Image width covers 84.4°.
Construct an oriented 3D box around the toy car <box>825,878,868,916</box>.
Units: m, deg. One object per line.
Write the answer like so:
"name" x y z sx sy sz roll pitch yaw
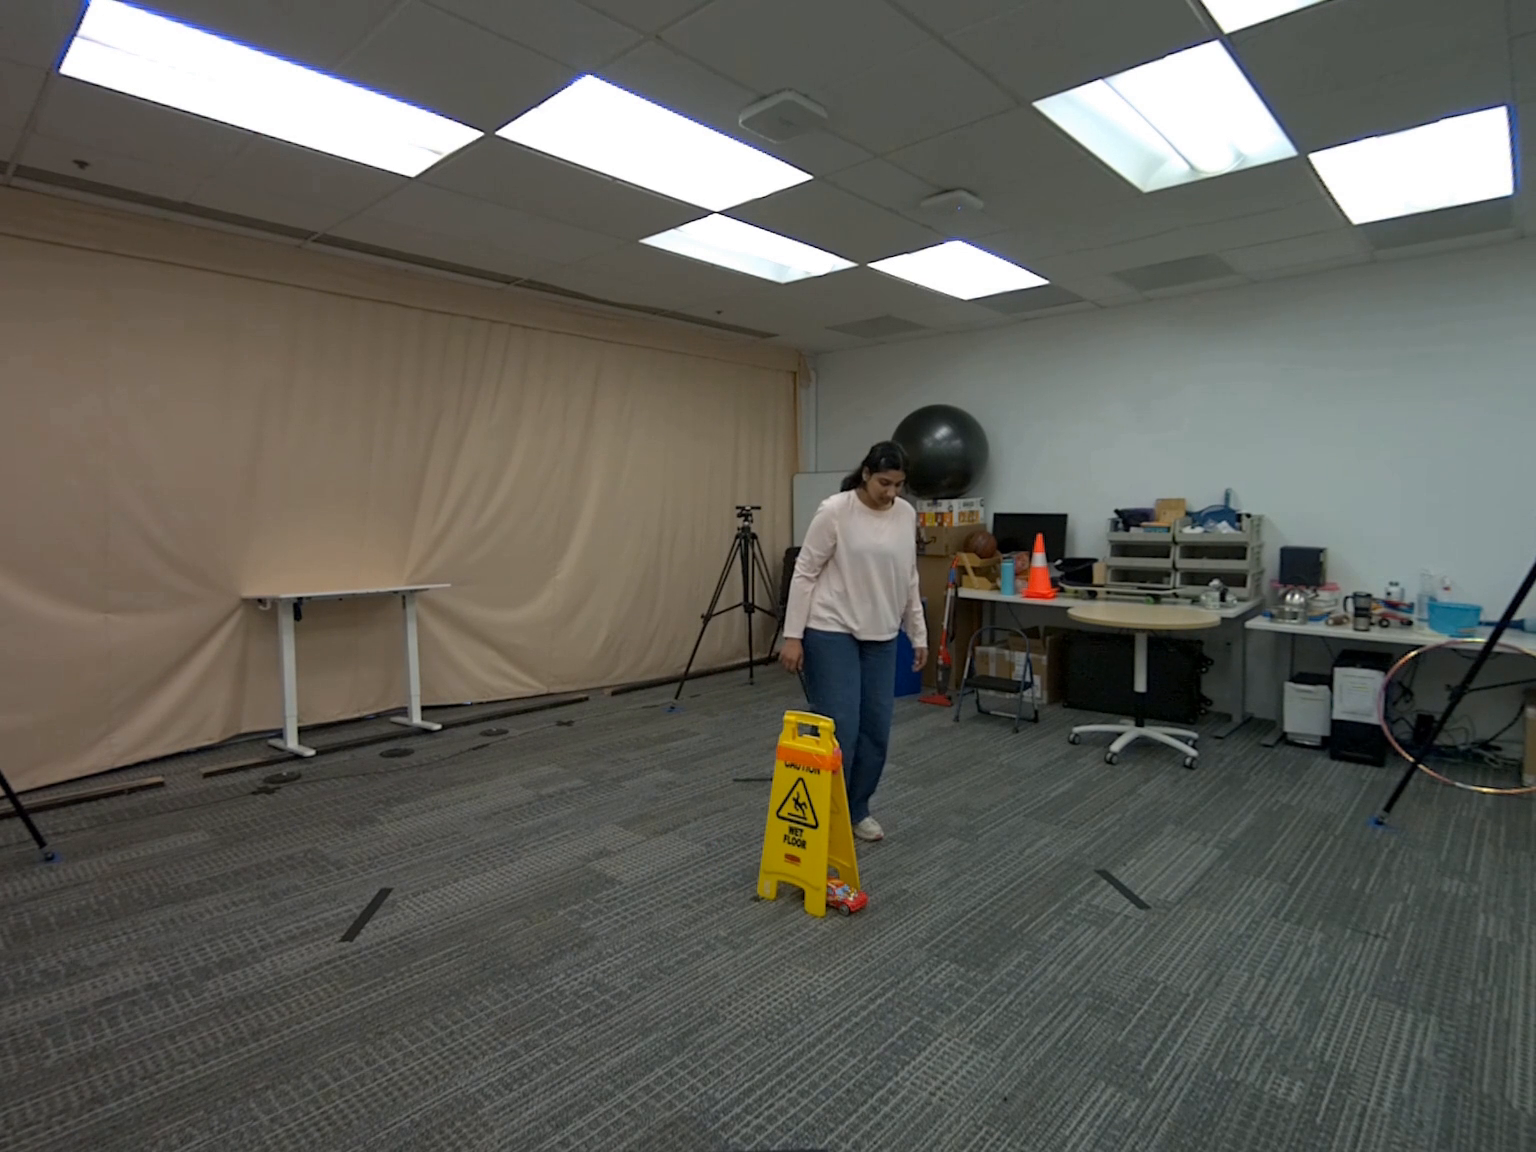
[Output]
"toy car" 0.221 1.112 2.959 0.264 0.083 0.126 17 16 41
